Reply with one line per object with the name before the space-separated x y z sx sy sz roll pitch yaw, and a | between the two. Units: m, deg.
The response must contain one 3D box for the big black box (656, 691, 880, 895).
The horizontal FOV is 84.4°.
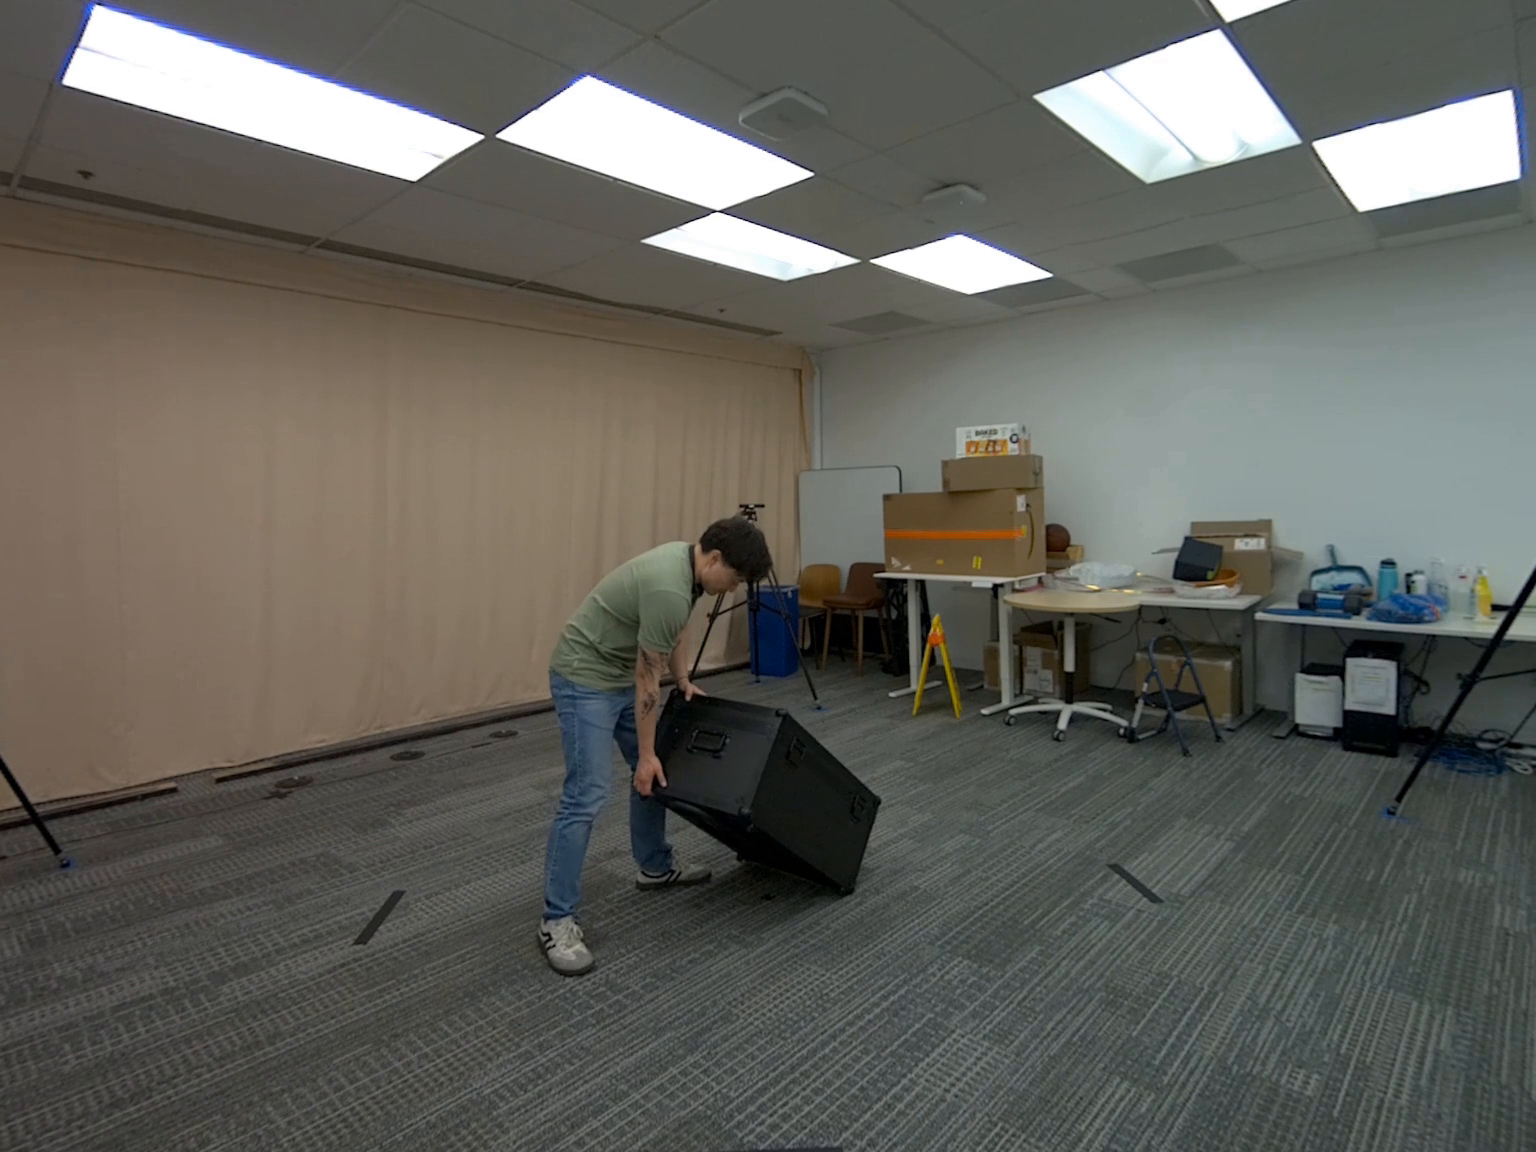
big black box | 0.009 0.793 2.978 0.538 0.398 0.831 3 -31 36
